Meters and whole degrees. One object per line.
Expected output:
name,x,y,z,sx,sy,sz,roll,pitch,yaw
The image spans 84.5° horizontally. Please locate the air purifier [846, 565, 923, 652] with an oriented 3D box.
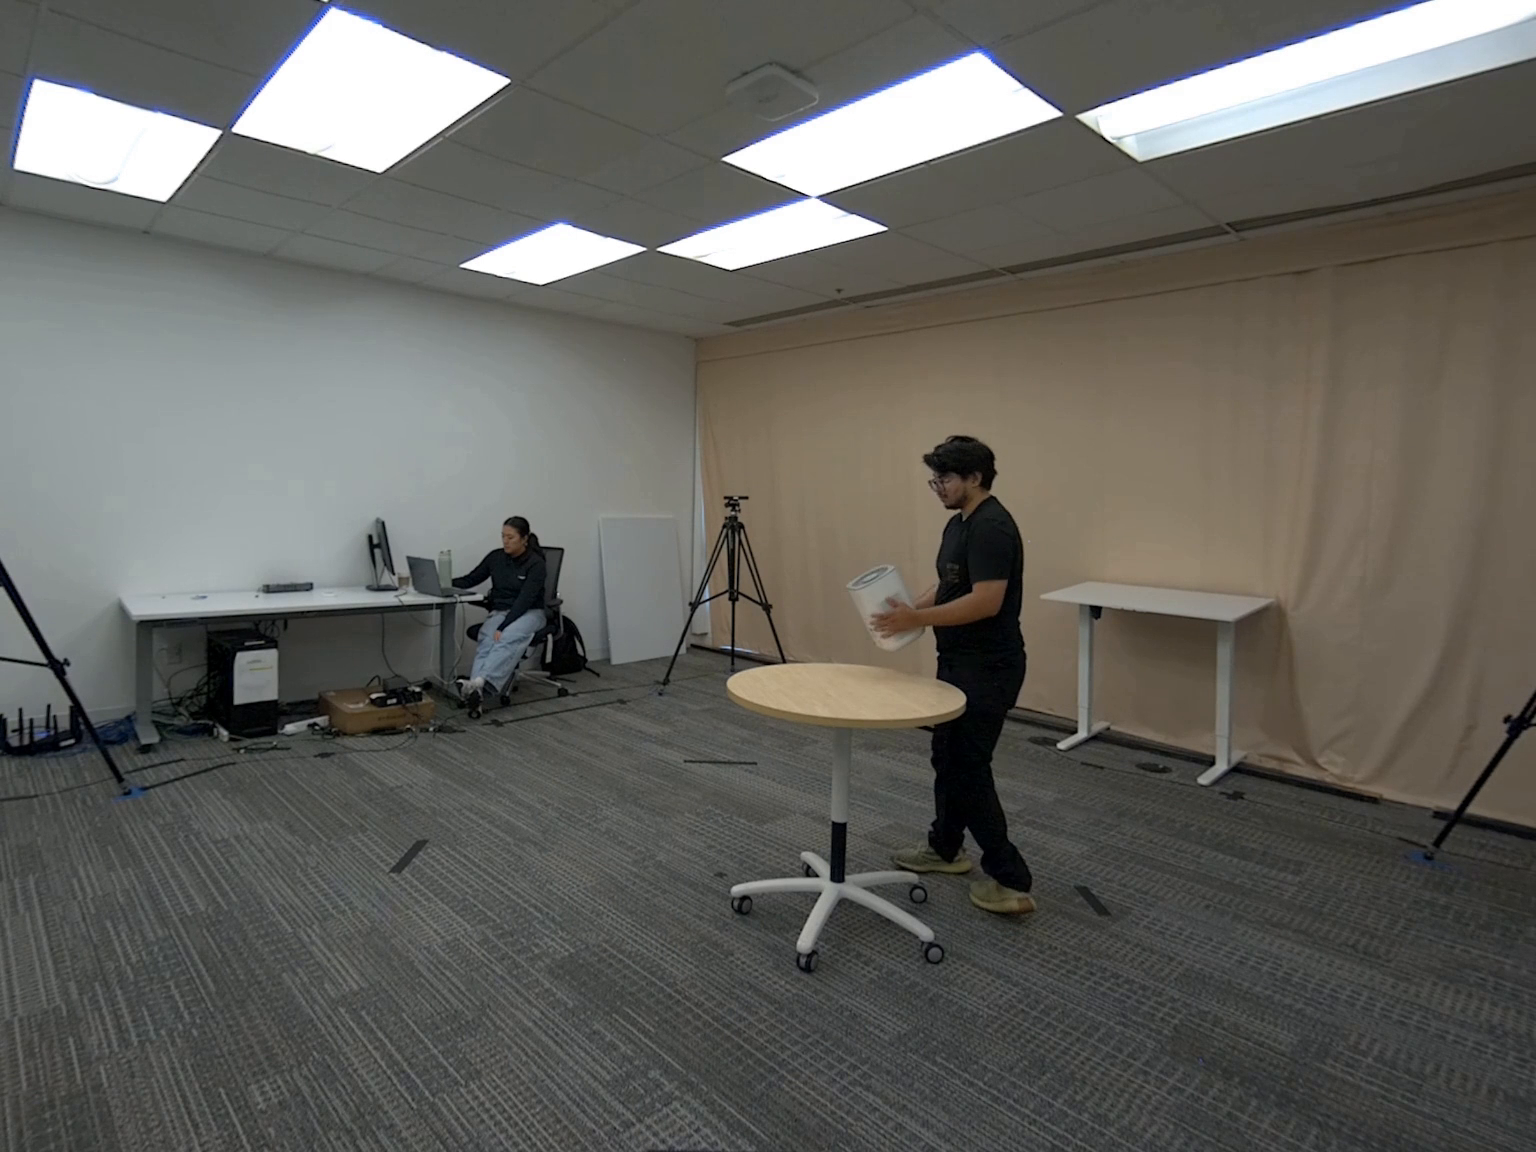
air purifier,0.420,0.112,2.993,0.173,0.260,0.170,-29,8,-7
